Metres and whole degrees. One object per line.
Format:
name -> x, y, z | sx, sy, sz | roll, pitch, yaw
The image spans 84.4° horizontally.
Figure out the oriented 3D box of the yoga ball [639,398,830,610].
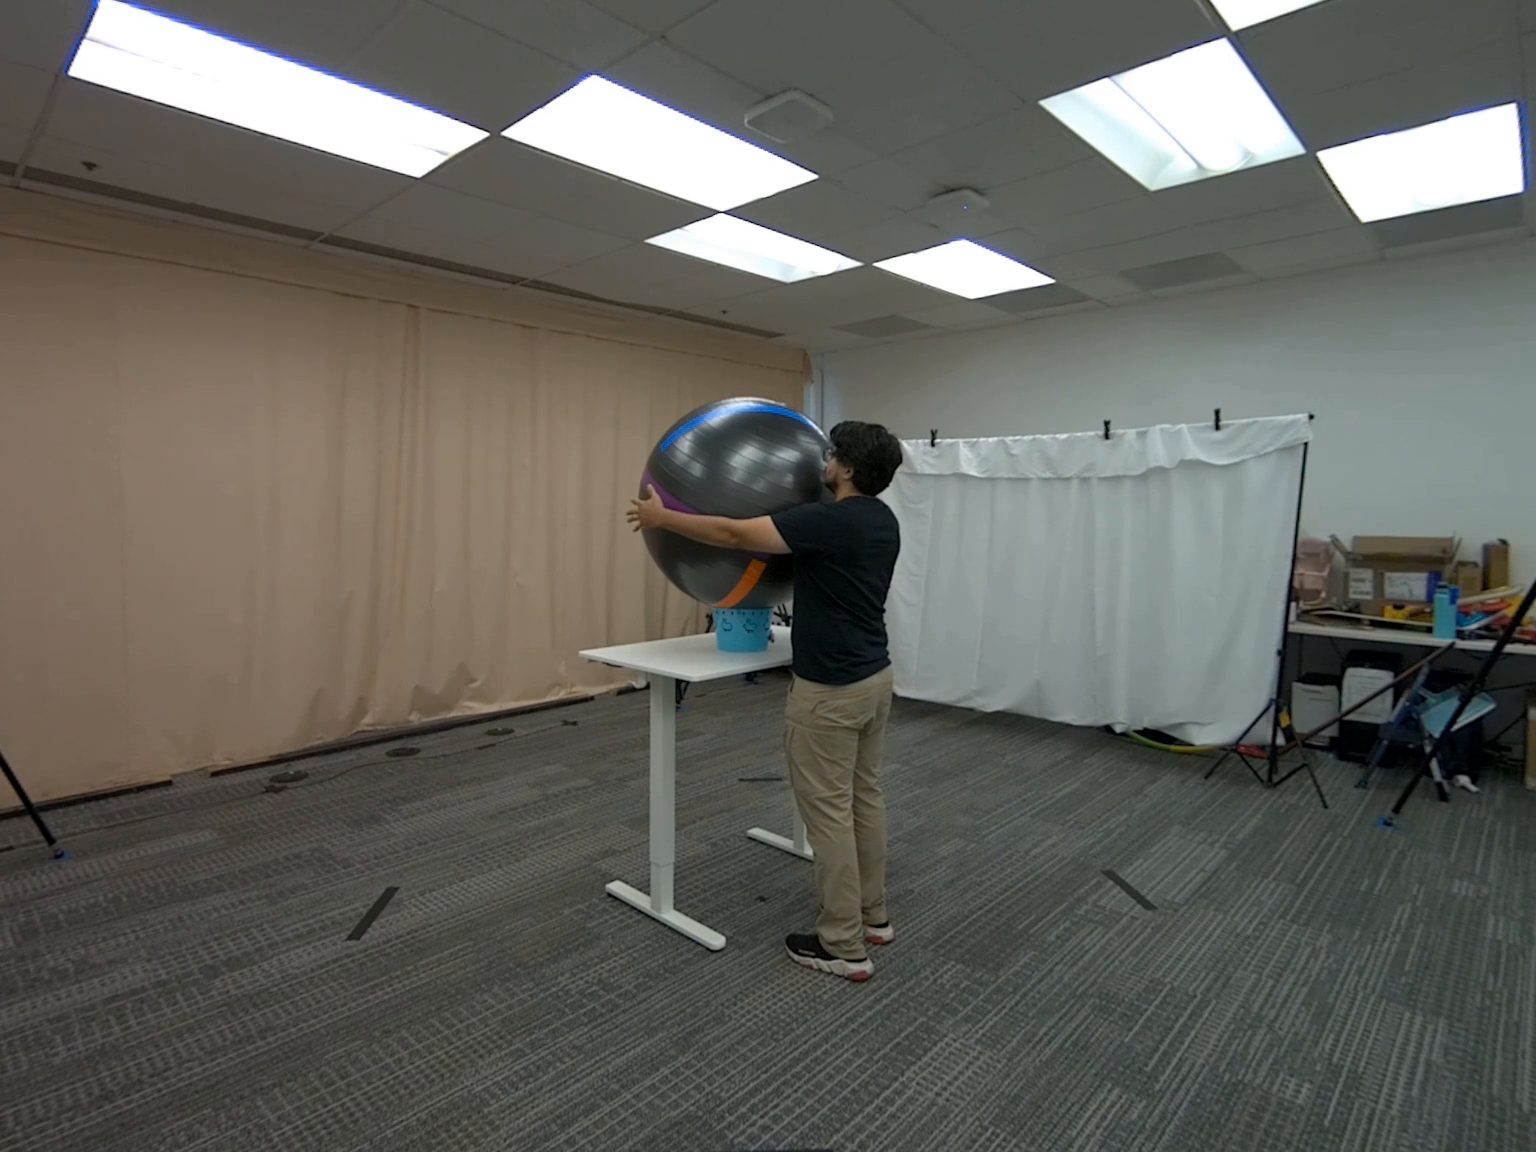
yoga ball -> -0.078, -0.248, 3.000 | 0.757, 0.756, 0.760 | 0, 4, -2
